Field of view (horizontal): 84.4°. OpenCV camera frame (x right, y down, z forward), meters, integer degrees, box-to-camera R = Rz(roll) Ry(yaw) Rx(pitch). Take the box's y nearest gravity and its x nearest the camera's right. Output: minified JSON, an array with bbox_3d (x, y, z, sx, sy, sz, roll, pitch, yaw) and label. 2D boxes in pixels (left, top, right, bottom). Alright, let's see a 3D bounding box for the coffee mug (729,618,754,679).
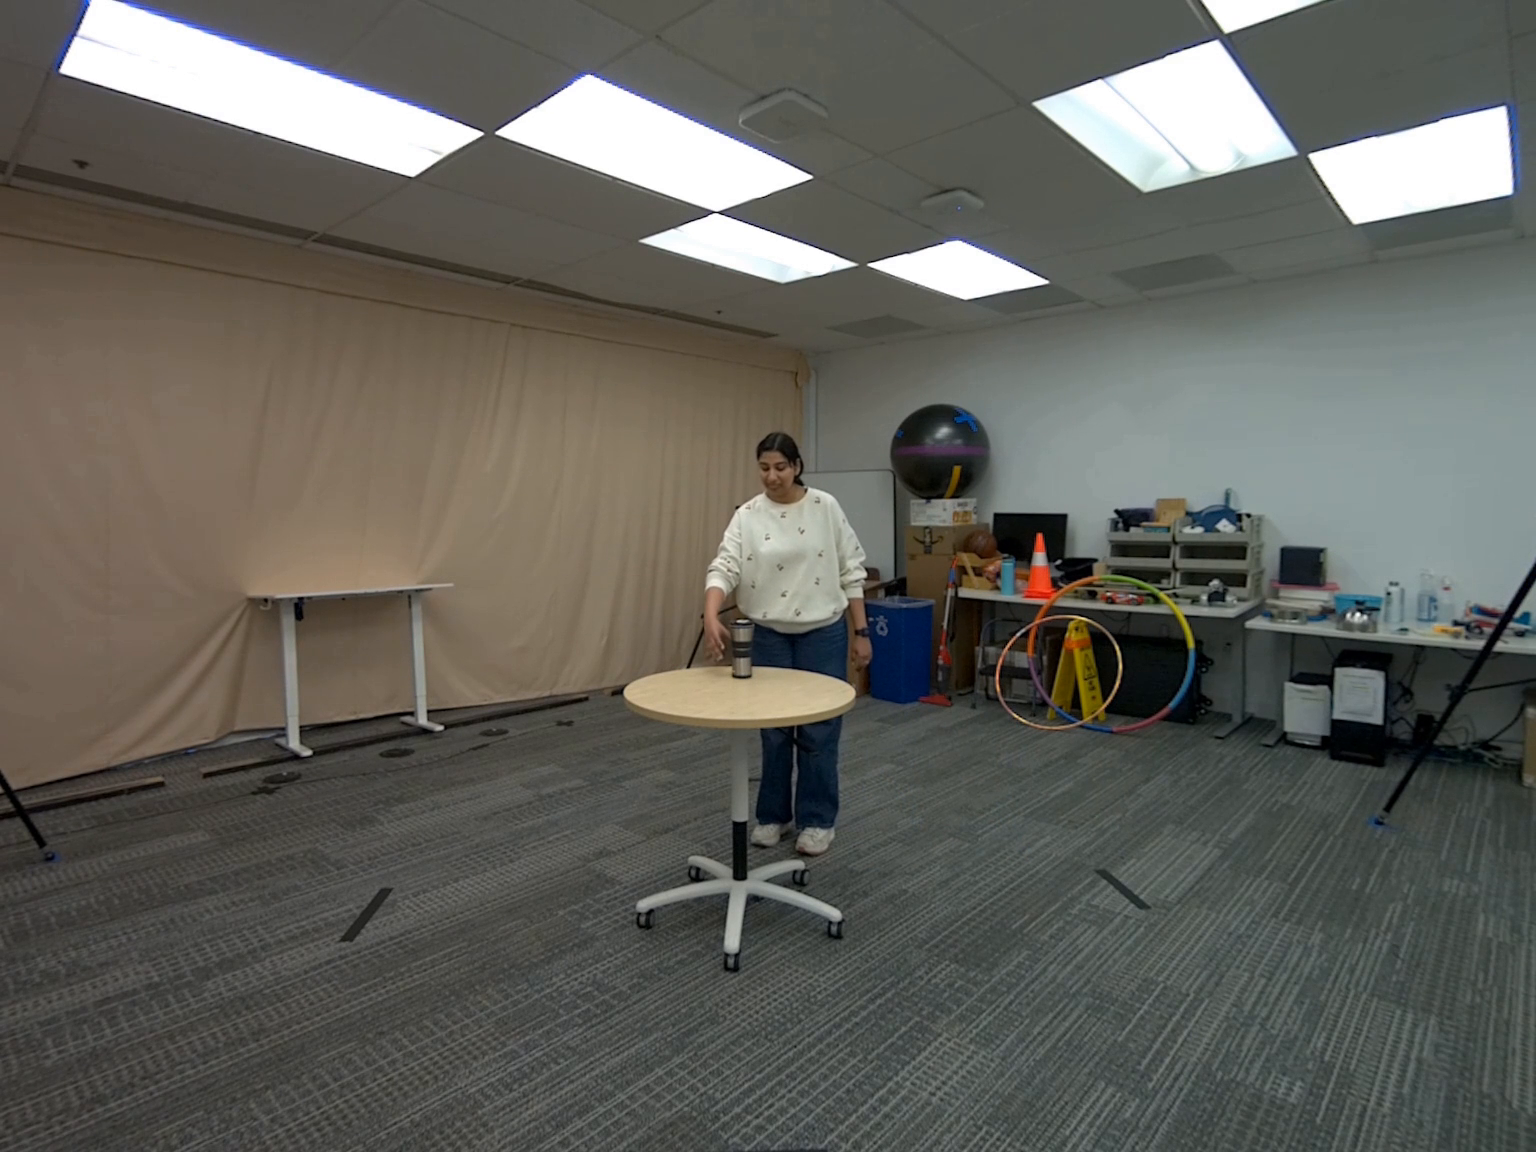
[{"bbox_3d":[-0.078,0.260,3.006,0.090,0.203,0.118,-3,0,38],"label":"coffee mug"}]
